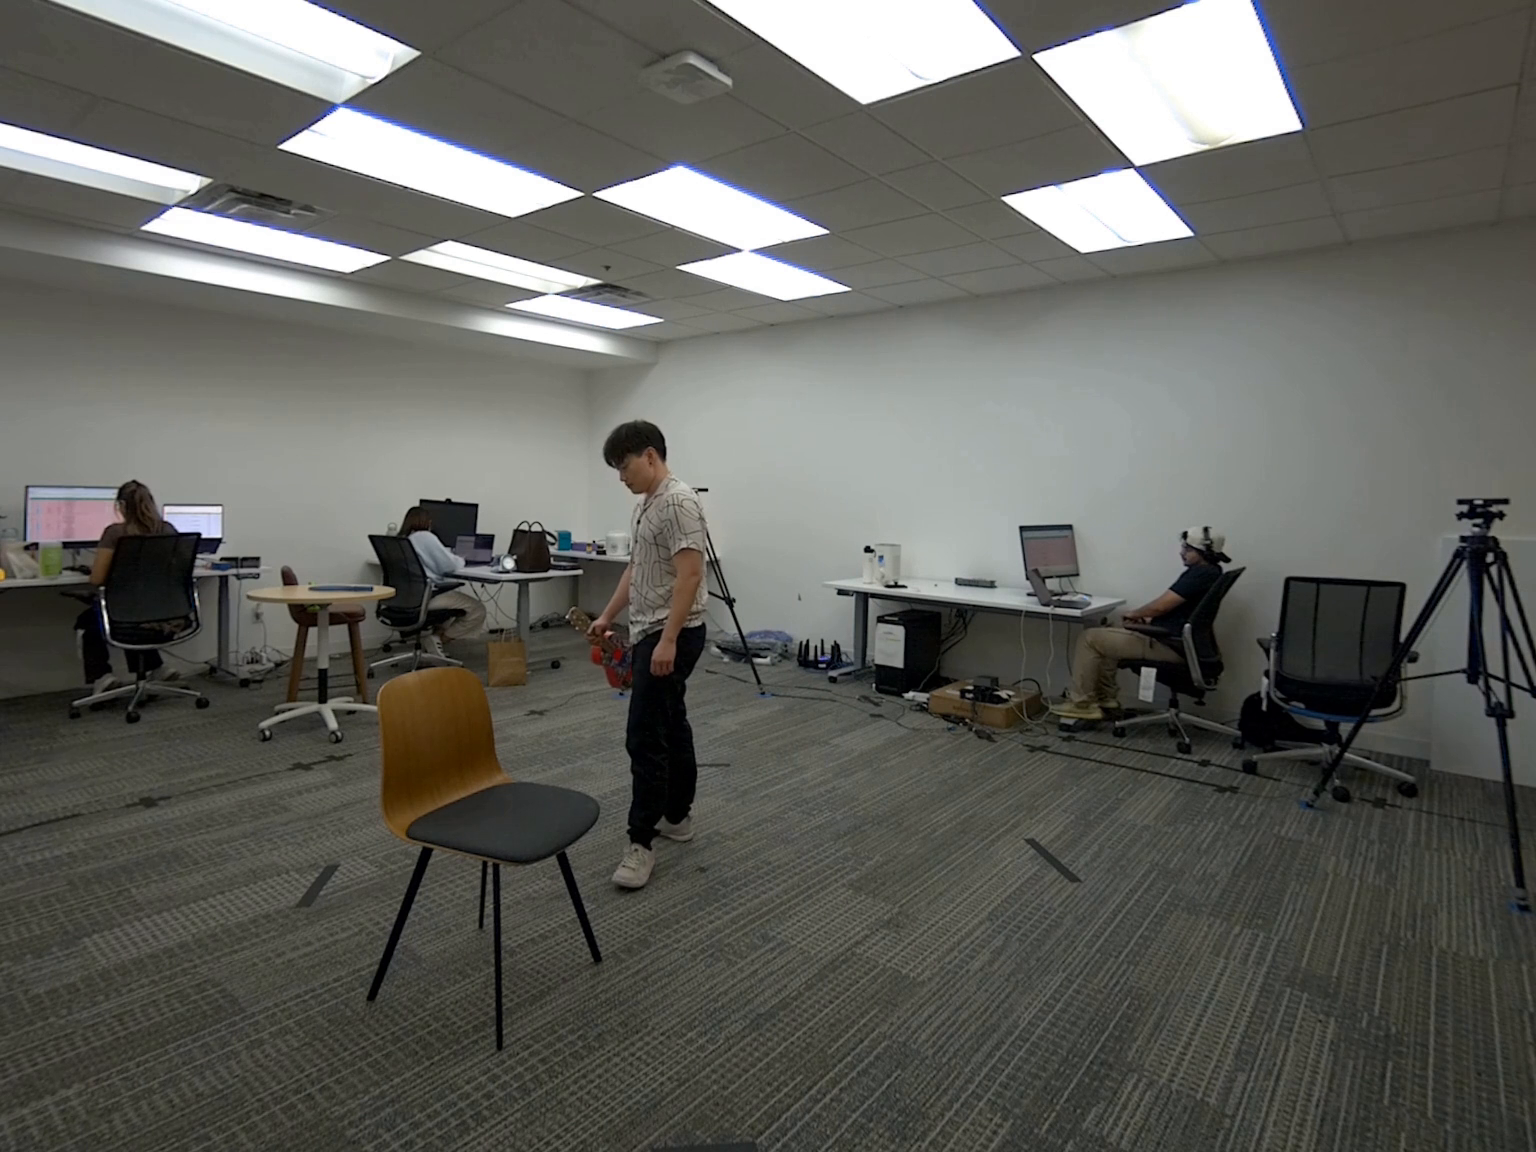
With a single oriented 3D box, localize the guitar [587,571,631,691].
[{"bbox_3d":[-0.668,0.257,3.478,0.073,0.479,0.194,7,49,40],"label":"guitar"}]
